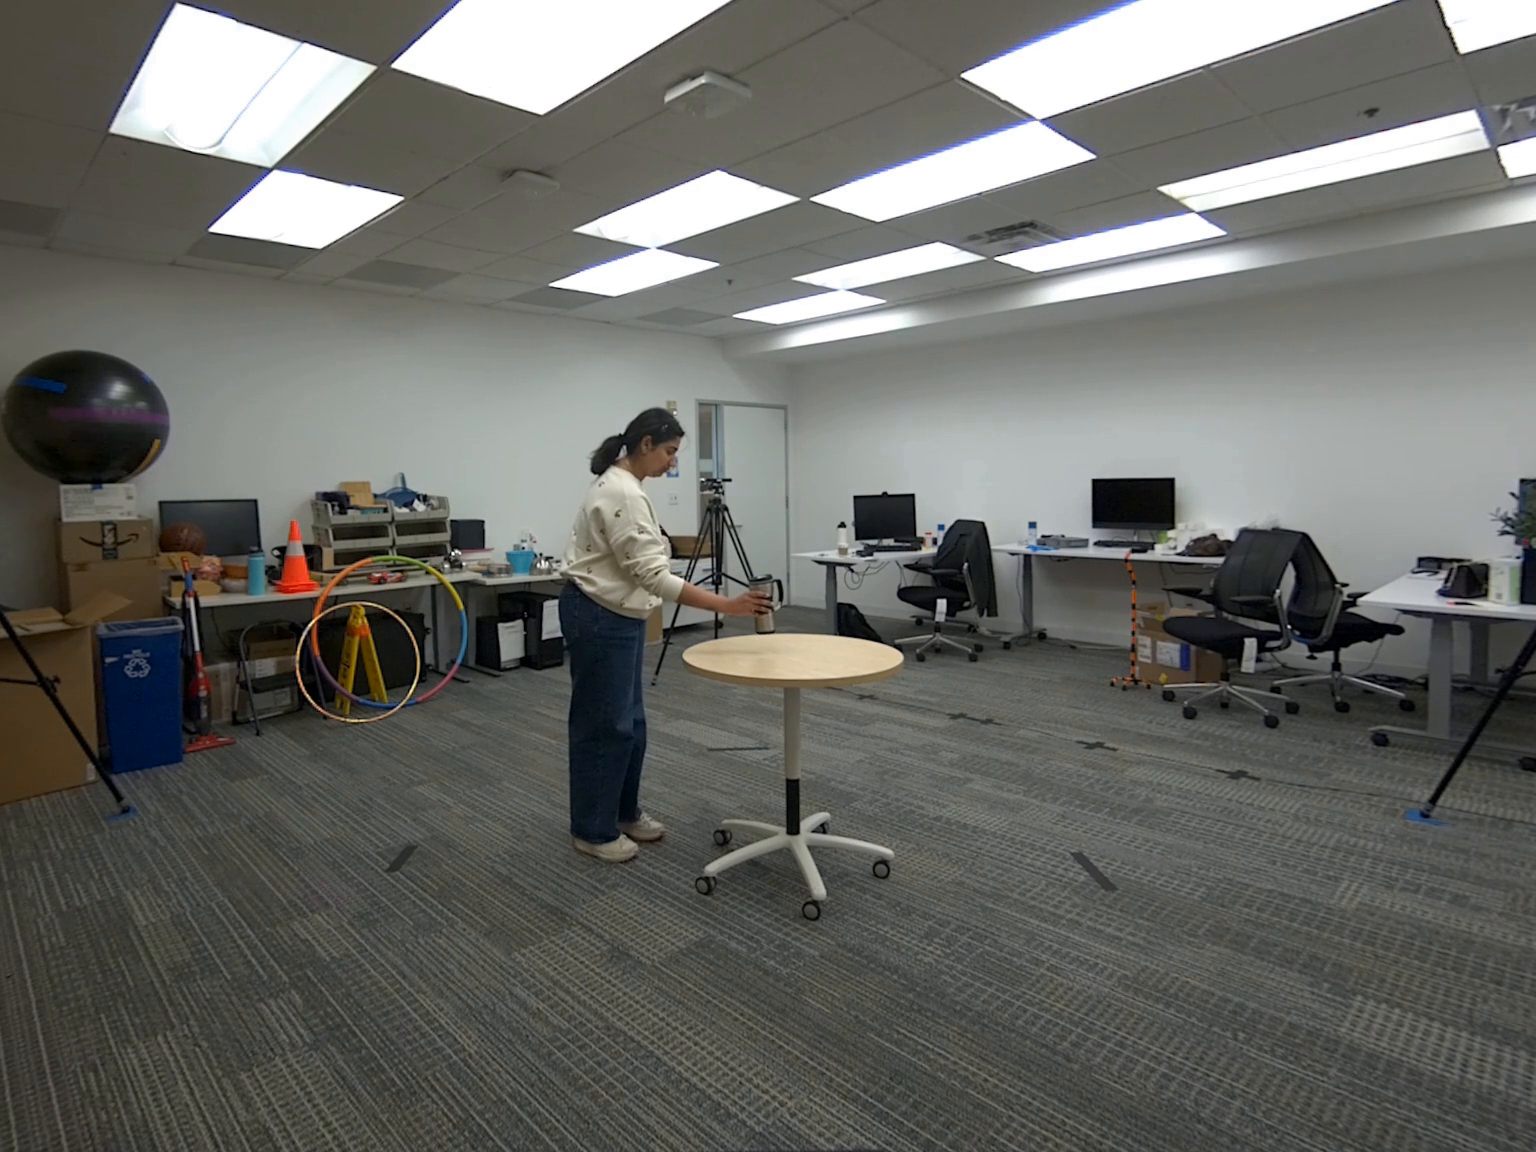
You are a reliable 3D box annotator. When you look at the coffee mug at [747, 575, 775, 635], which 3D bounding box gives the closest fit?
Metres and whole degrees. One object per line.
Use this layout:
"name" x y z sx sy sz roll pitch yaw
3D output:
"coffee mug" -0.004 0.100 2.991 0.125 0.203 0.086 -5 -2 28
